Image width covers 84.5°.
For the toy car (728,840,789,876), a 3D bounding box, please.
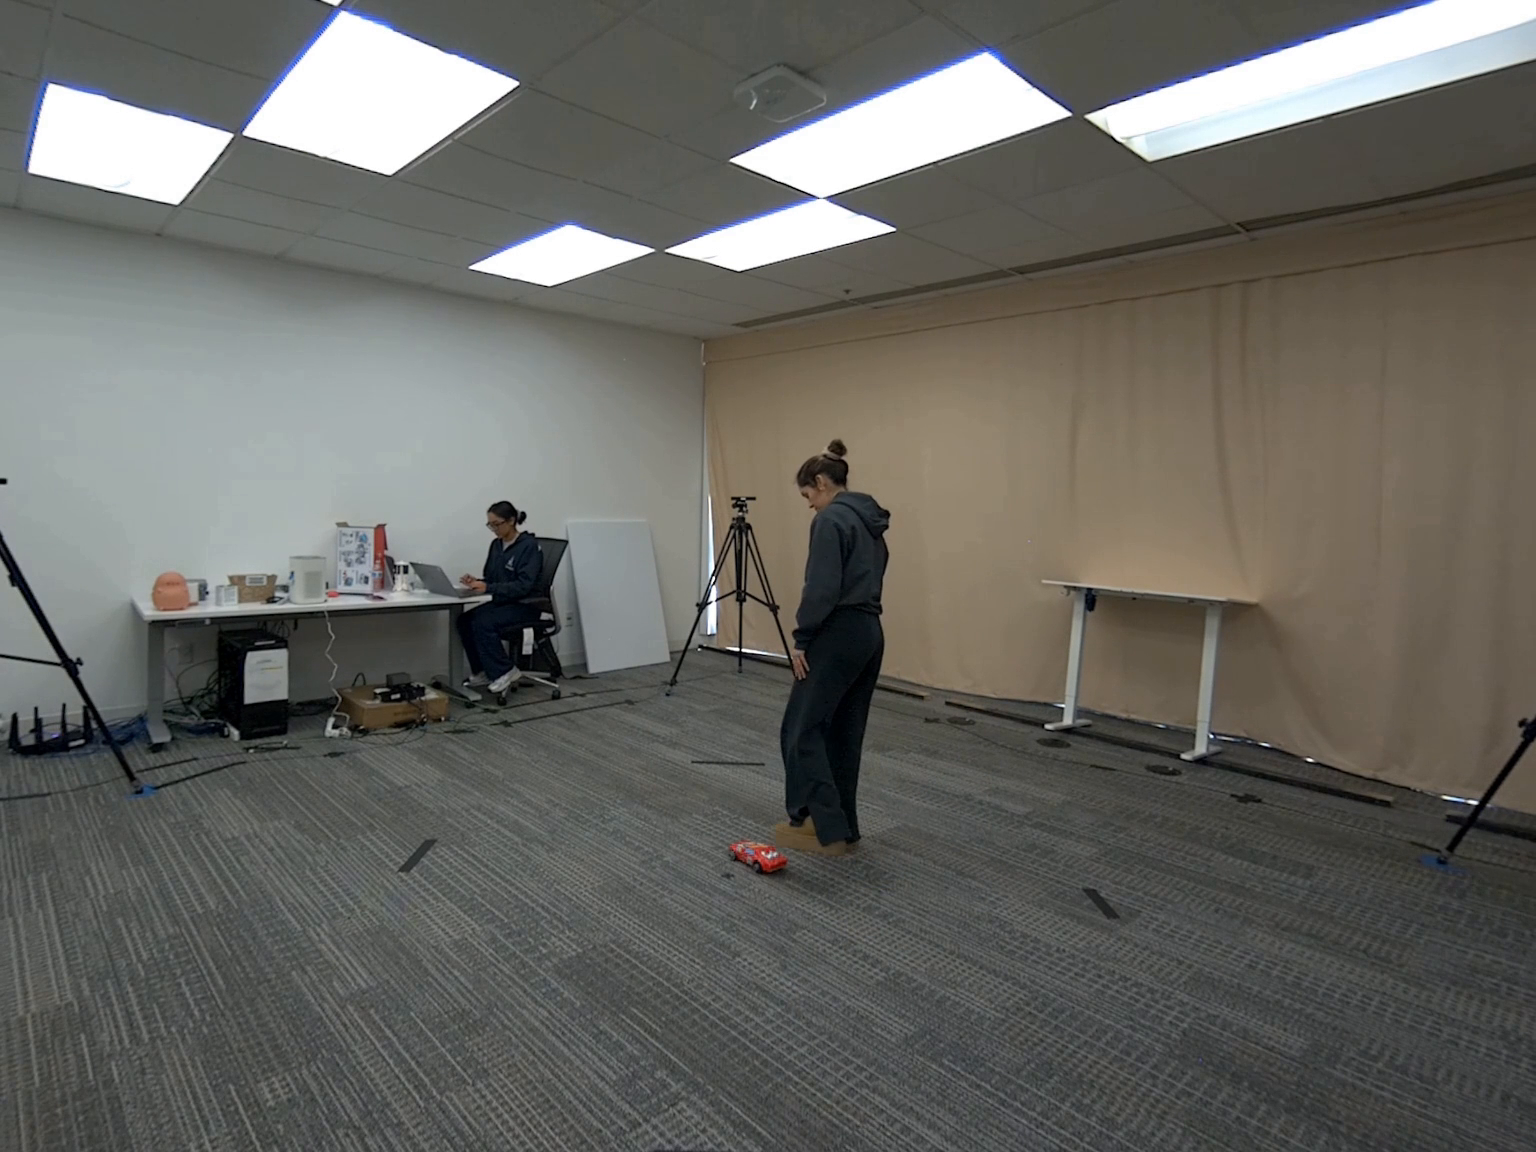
[{"bbox_3d":[-0.043,1.066,3.211,0.127,0.083,0.259,-2,-4,-41],"label":"toy car"}]
